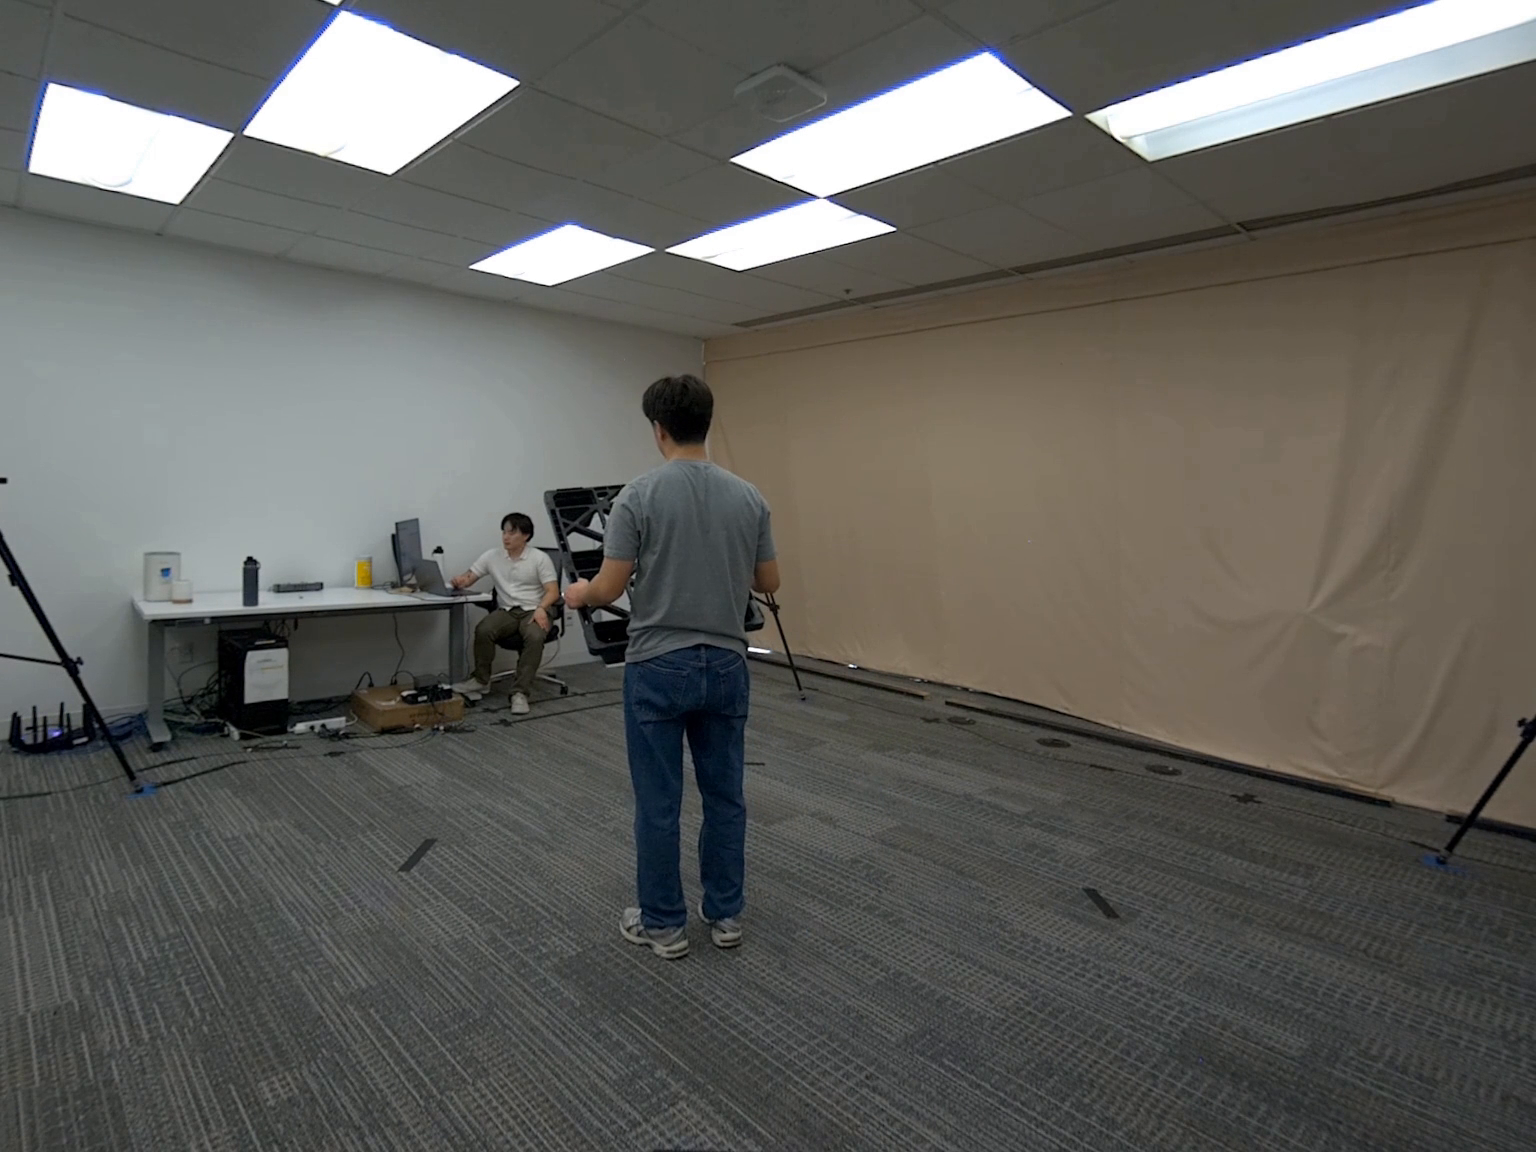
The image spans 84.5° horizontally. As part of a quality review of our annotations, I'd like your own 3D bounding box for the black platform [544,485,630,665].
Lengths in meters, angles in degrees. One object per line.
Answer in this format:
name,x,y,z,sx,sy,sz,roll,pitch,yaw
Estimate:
black platform,-0.440,-0.043,3.021,0.597,0.141,0.830,-7,45,-21
